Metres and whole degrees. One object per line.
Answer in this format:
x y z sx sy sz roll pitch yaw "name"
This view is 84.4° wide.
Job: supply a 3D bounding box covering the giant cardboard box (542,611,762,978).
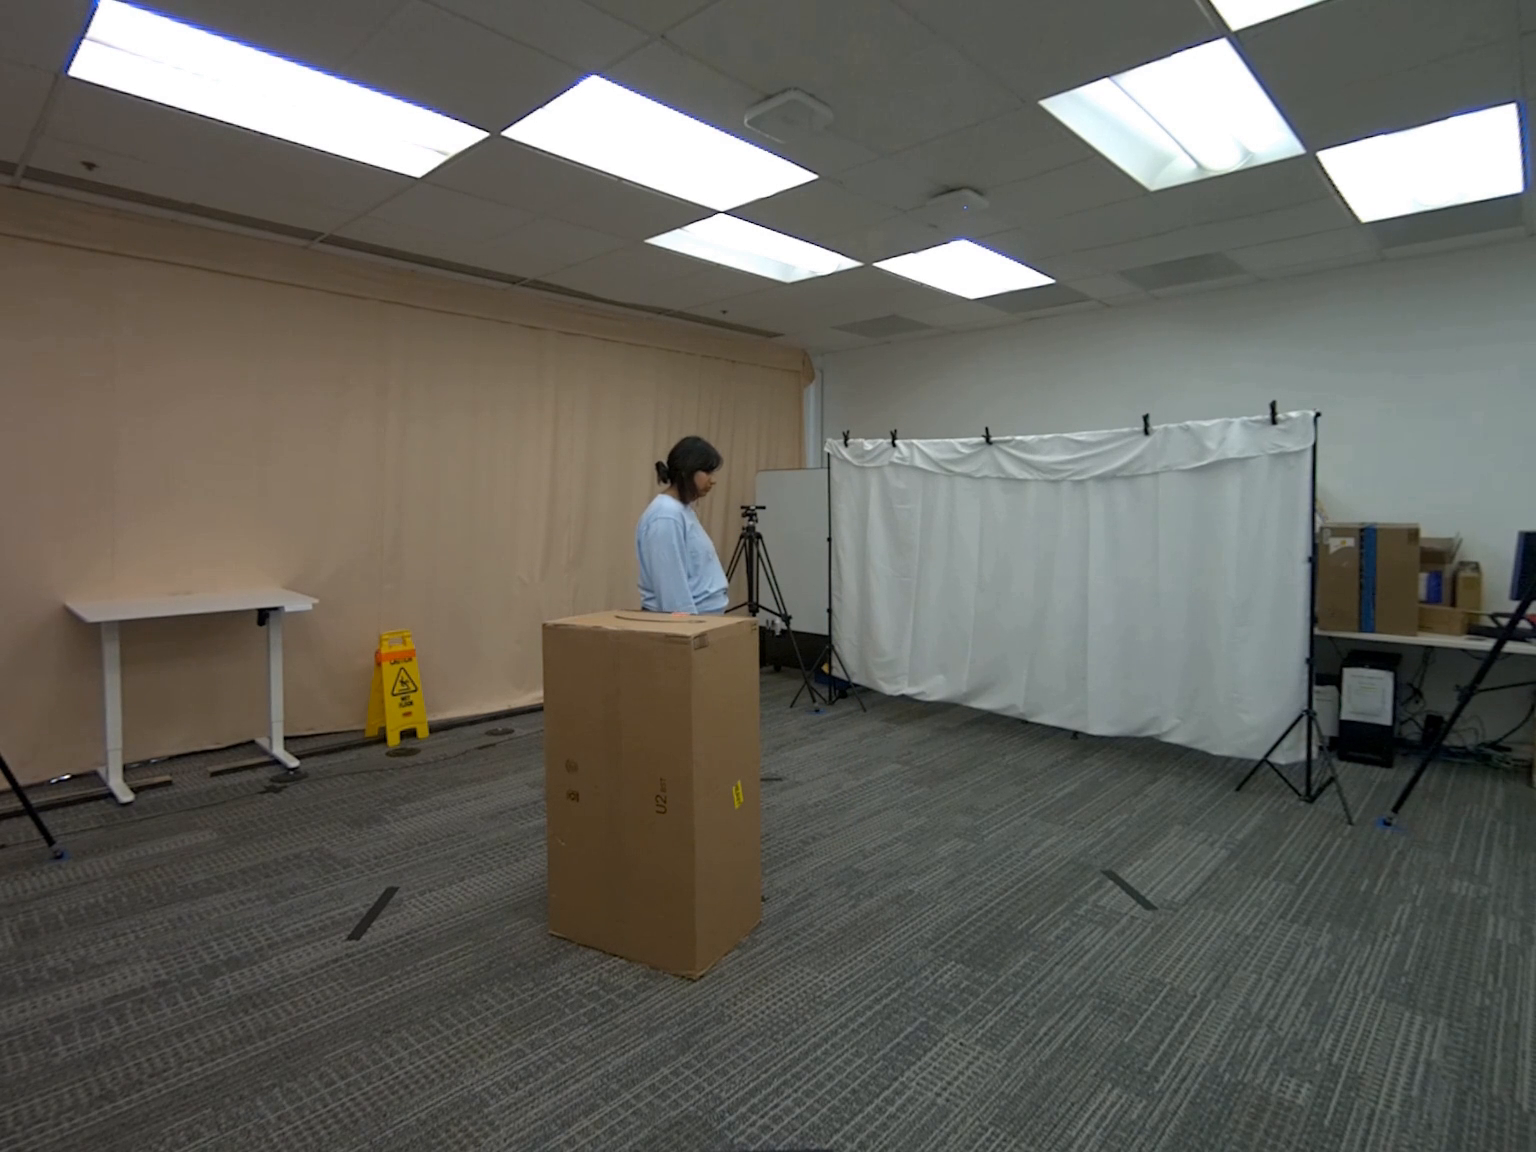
-0.372 0.655 2.768 0.594 1.024 0.415 1 3 30 "giant cardboard box"
